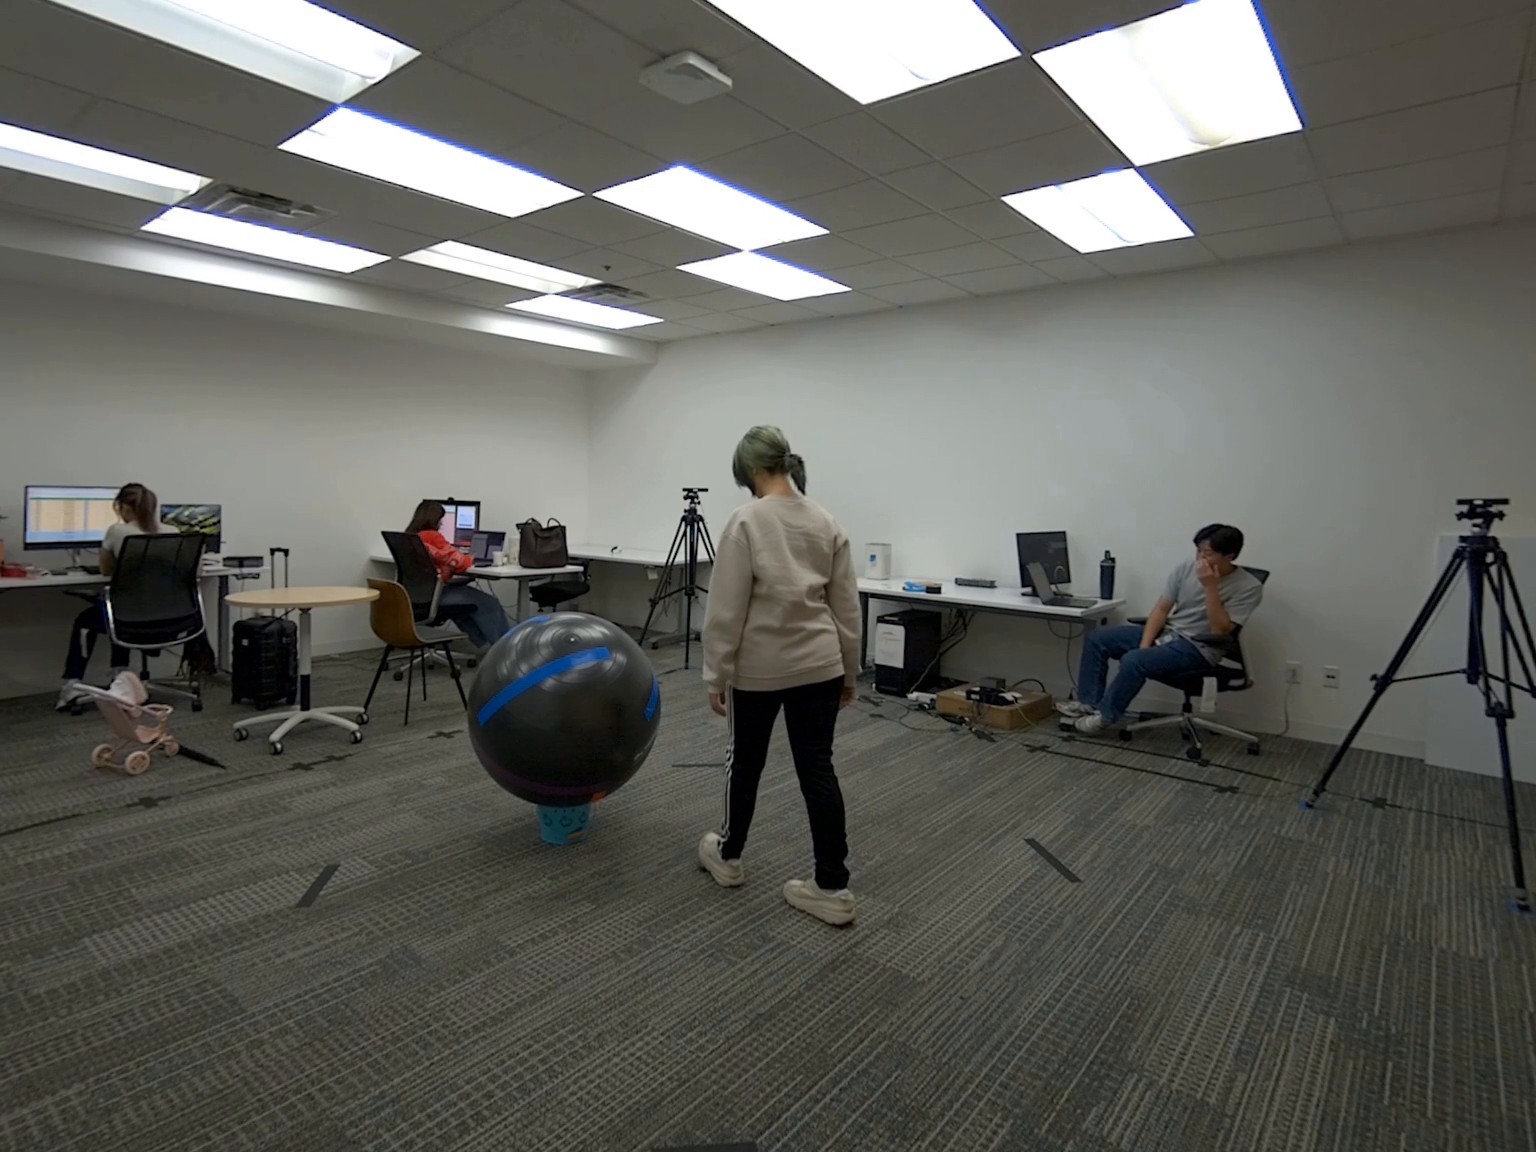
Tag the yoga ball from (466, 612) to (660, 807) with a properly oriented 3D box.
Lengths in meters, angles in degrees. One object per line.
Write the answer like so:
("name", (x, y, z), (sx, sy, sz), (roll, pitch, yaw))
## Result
("yoga ball", (-0.814, 0.522, 3.380), (0.757, 0.756, 0.761), (1, 4, -2))
